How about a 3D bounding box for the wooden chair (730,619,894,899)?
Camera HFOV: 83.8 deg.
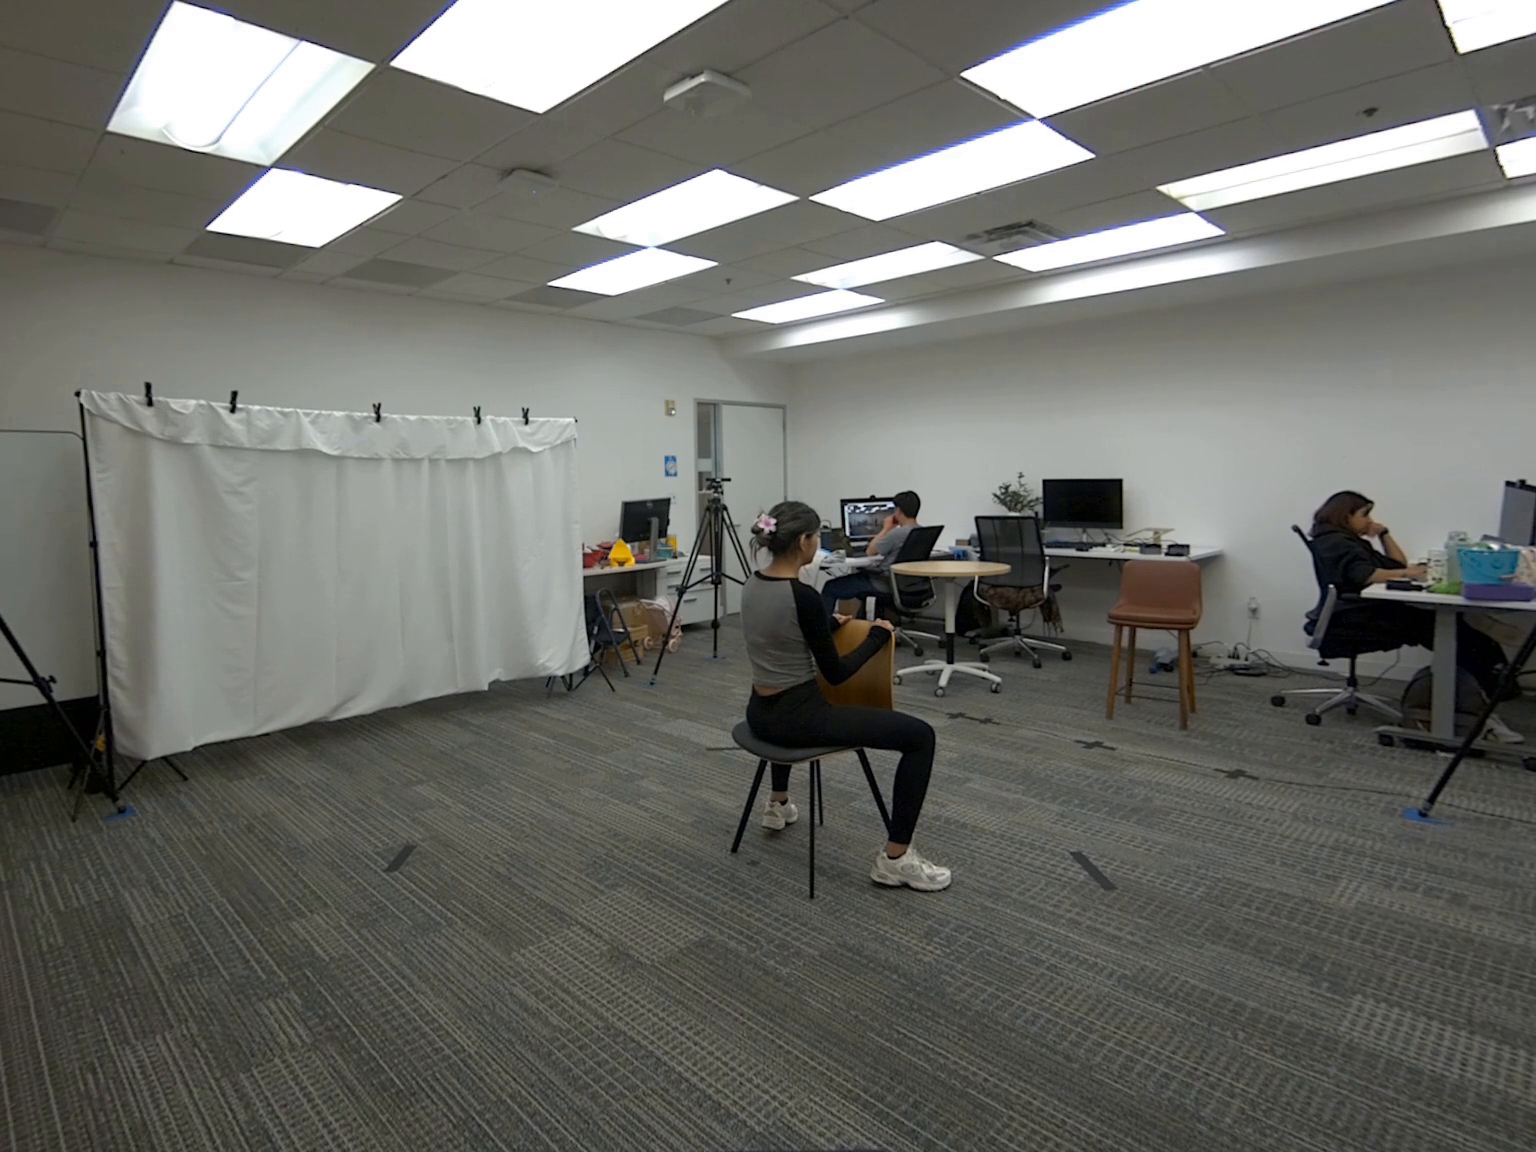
[{"bbox_3d":[0.168,0.613,3.101,0.508,0.877,0.492,3,1,-37],"label":"wooden chair"}]
